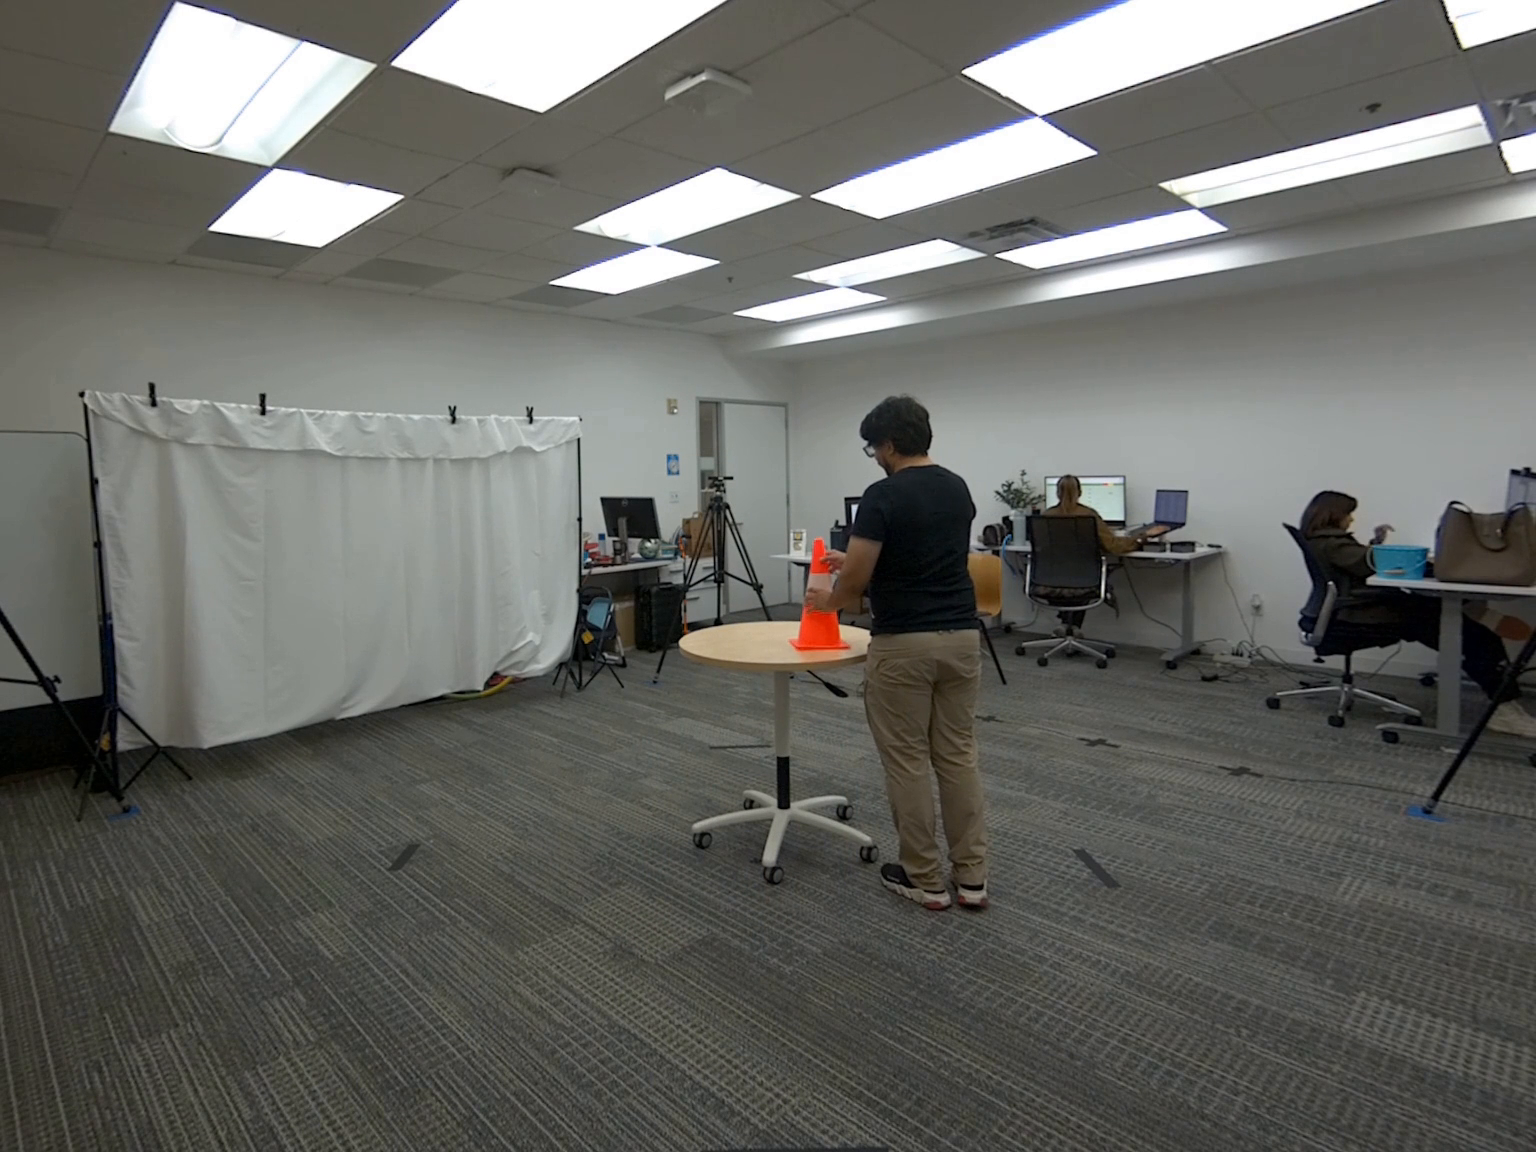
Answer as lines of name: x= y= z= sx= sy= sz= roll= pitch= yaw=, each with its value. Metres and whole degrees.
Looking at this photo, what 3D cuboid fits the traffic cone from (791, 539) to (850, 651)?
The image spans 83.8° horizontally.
traffic cone: x=0.191 y=0.054 z=3.101 sx=0.203 sy=0.383 sz=0.205 roll=-1 pitch=3 yaw=-9
